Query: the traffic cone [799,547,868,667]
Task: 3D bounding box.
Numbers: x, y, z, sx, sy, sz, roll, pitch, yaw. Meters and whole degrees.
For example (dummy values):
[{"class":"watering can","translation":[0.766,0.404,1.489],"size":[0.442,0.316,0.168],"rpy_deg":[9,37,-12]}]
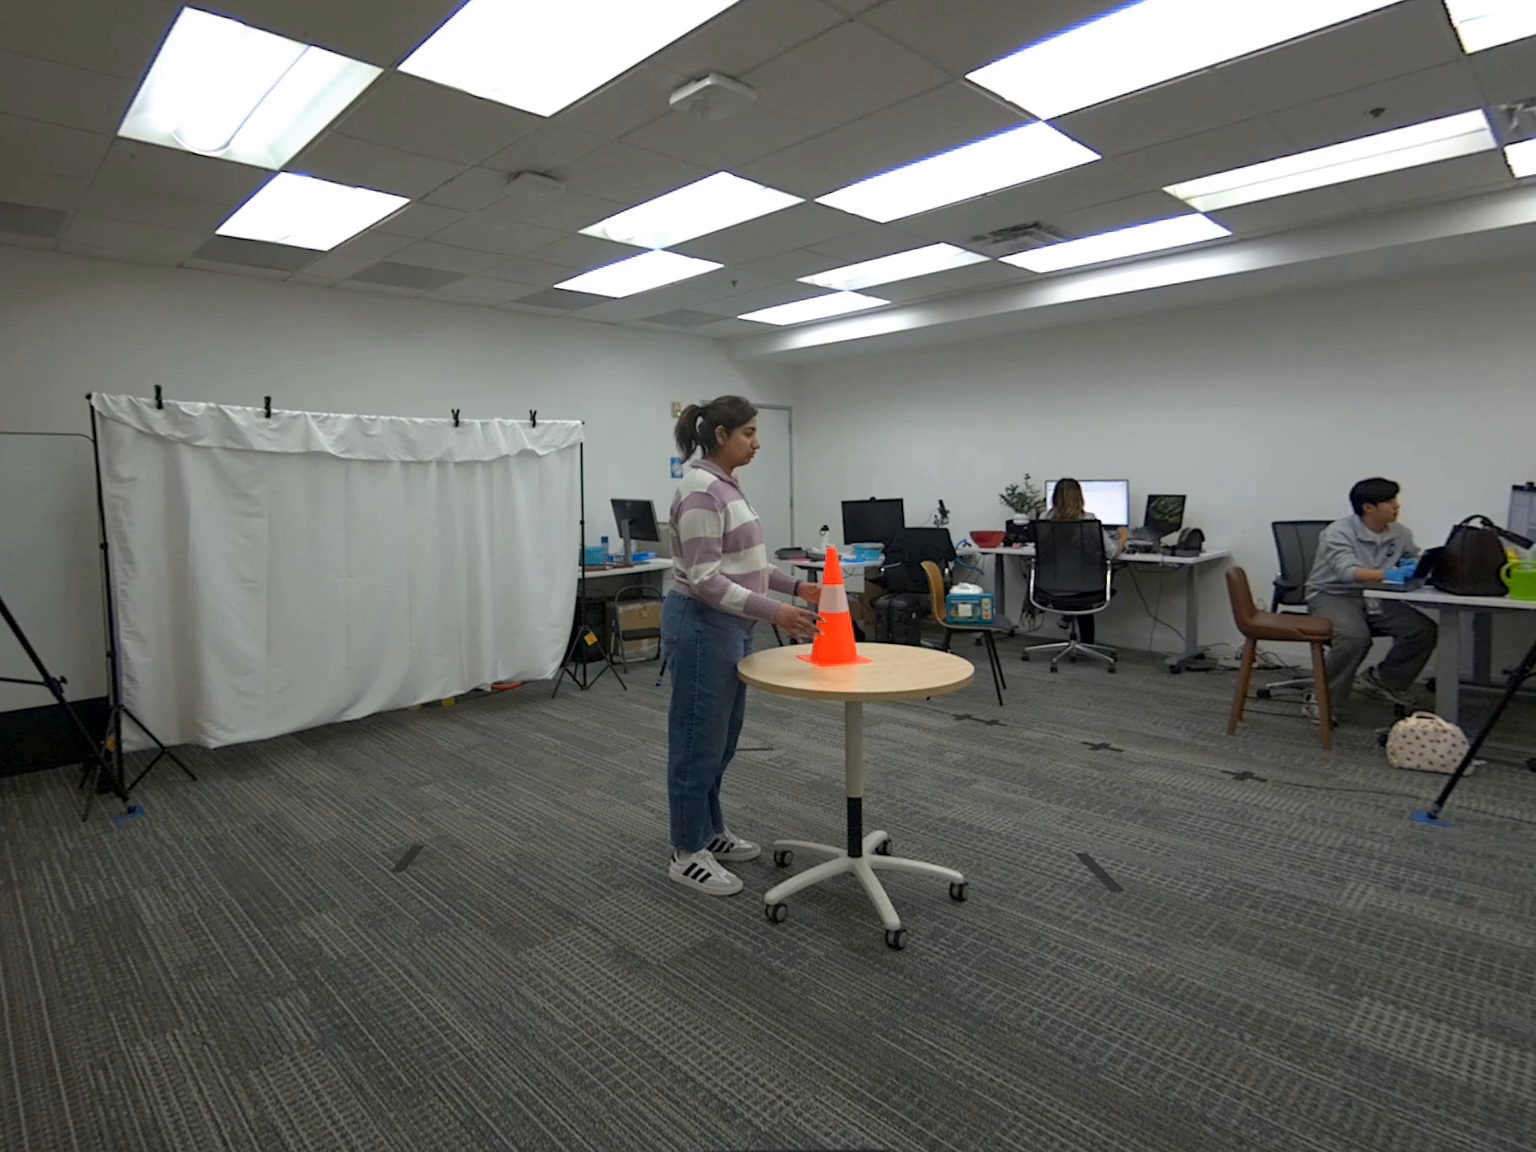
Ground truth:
[{"class":"traffic cone","translation":[0.213,0.095,2.881],"size":[0.200,0.382,0.209],"rpy_deg":[-5,6,-29]}]
